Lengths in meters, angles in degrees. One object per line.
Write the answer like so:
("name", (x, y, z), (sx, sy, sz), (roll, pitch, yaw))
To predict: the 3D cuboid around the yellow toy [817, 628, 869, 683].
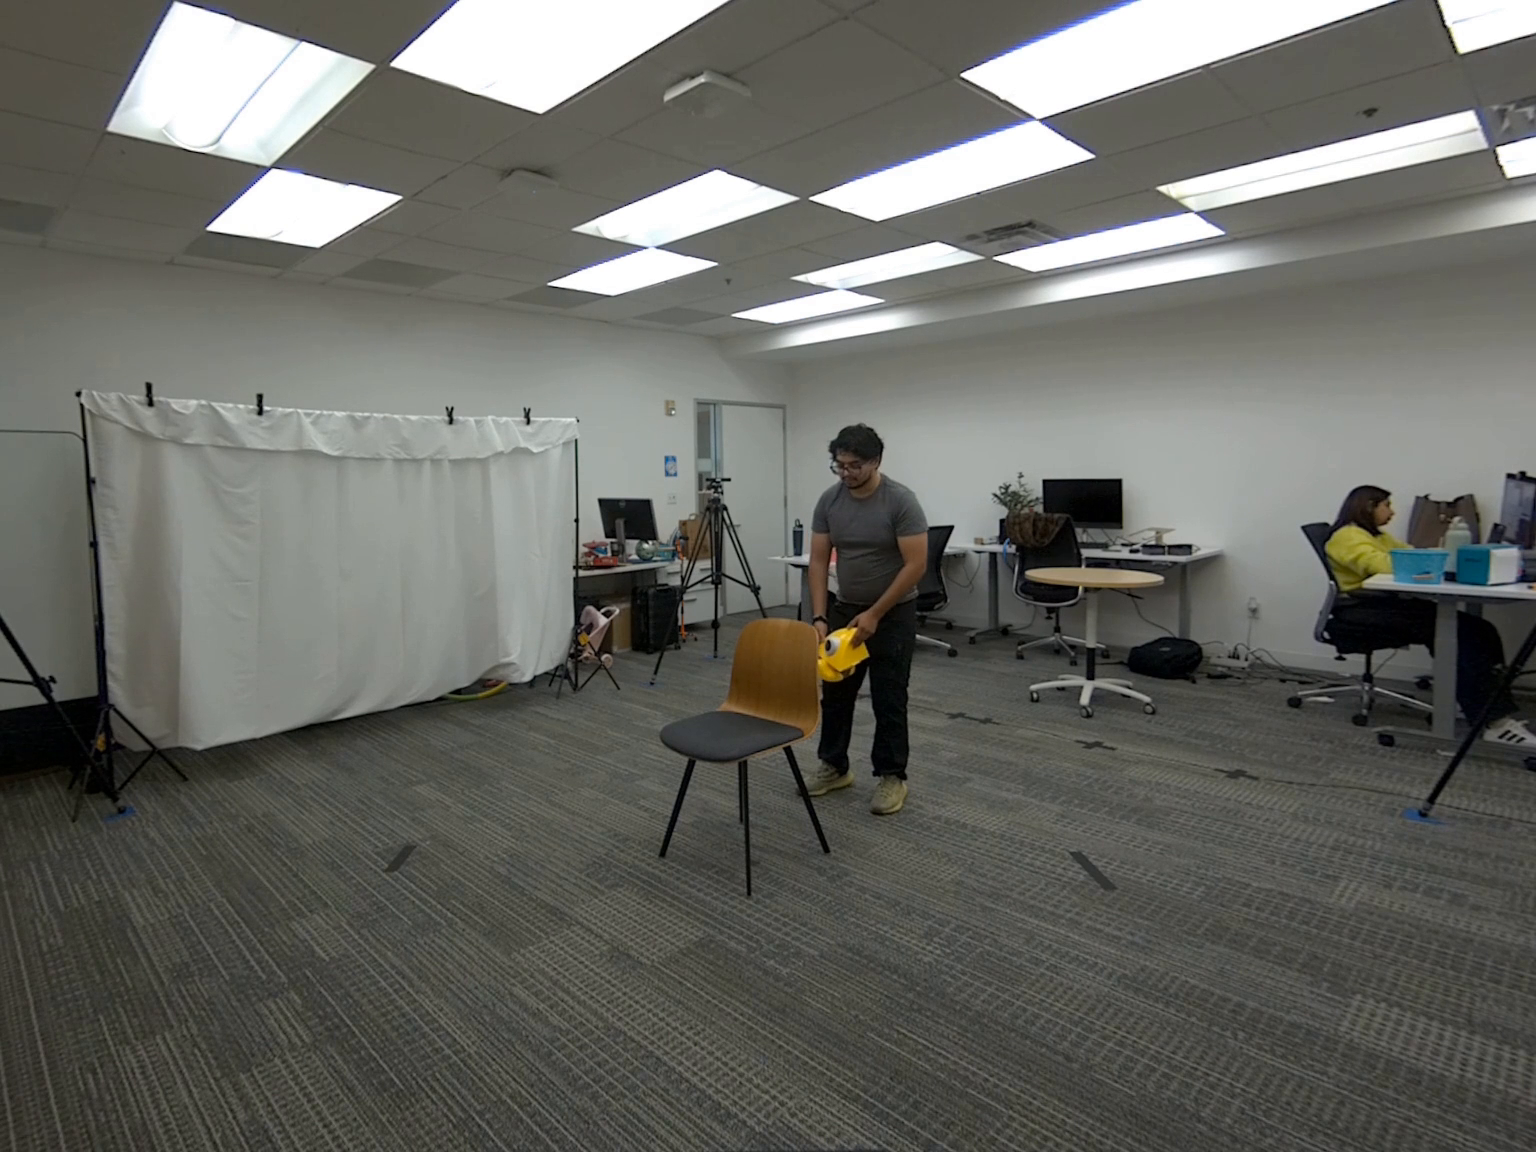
("yellow toy", (0.282, 0.285, 3.491), (0.200, 0.227, 0.201), (27, 29, 33))
